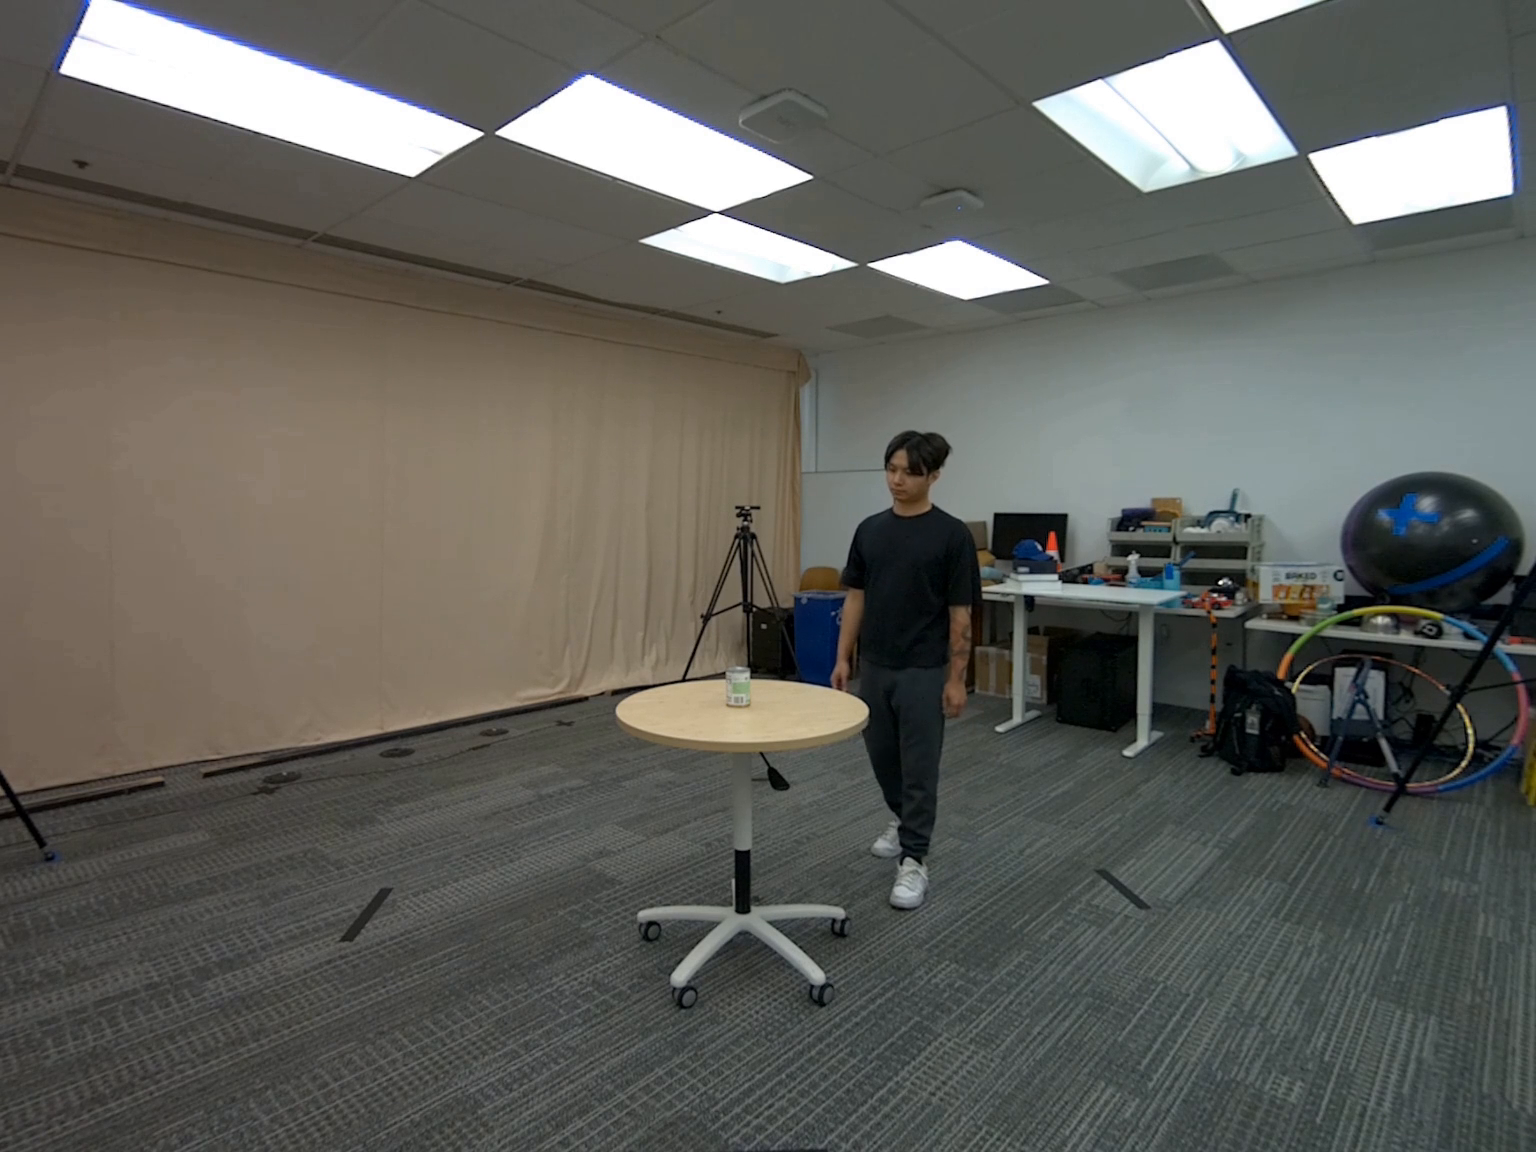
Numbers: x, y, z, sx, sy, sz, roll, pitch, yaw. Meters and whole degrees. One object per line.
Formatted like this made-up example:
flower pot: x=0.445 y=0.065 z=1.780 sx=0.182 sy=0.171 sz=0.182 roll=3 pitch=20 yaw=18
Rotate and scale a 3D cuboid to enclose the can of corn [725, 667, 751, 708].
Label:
can of corn: x=-0.084 y=0.345 z=2.575 sx=0.074 sy=0.111 sz=0.074 roll=-3 pitch=4 yaw=-2
